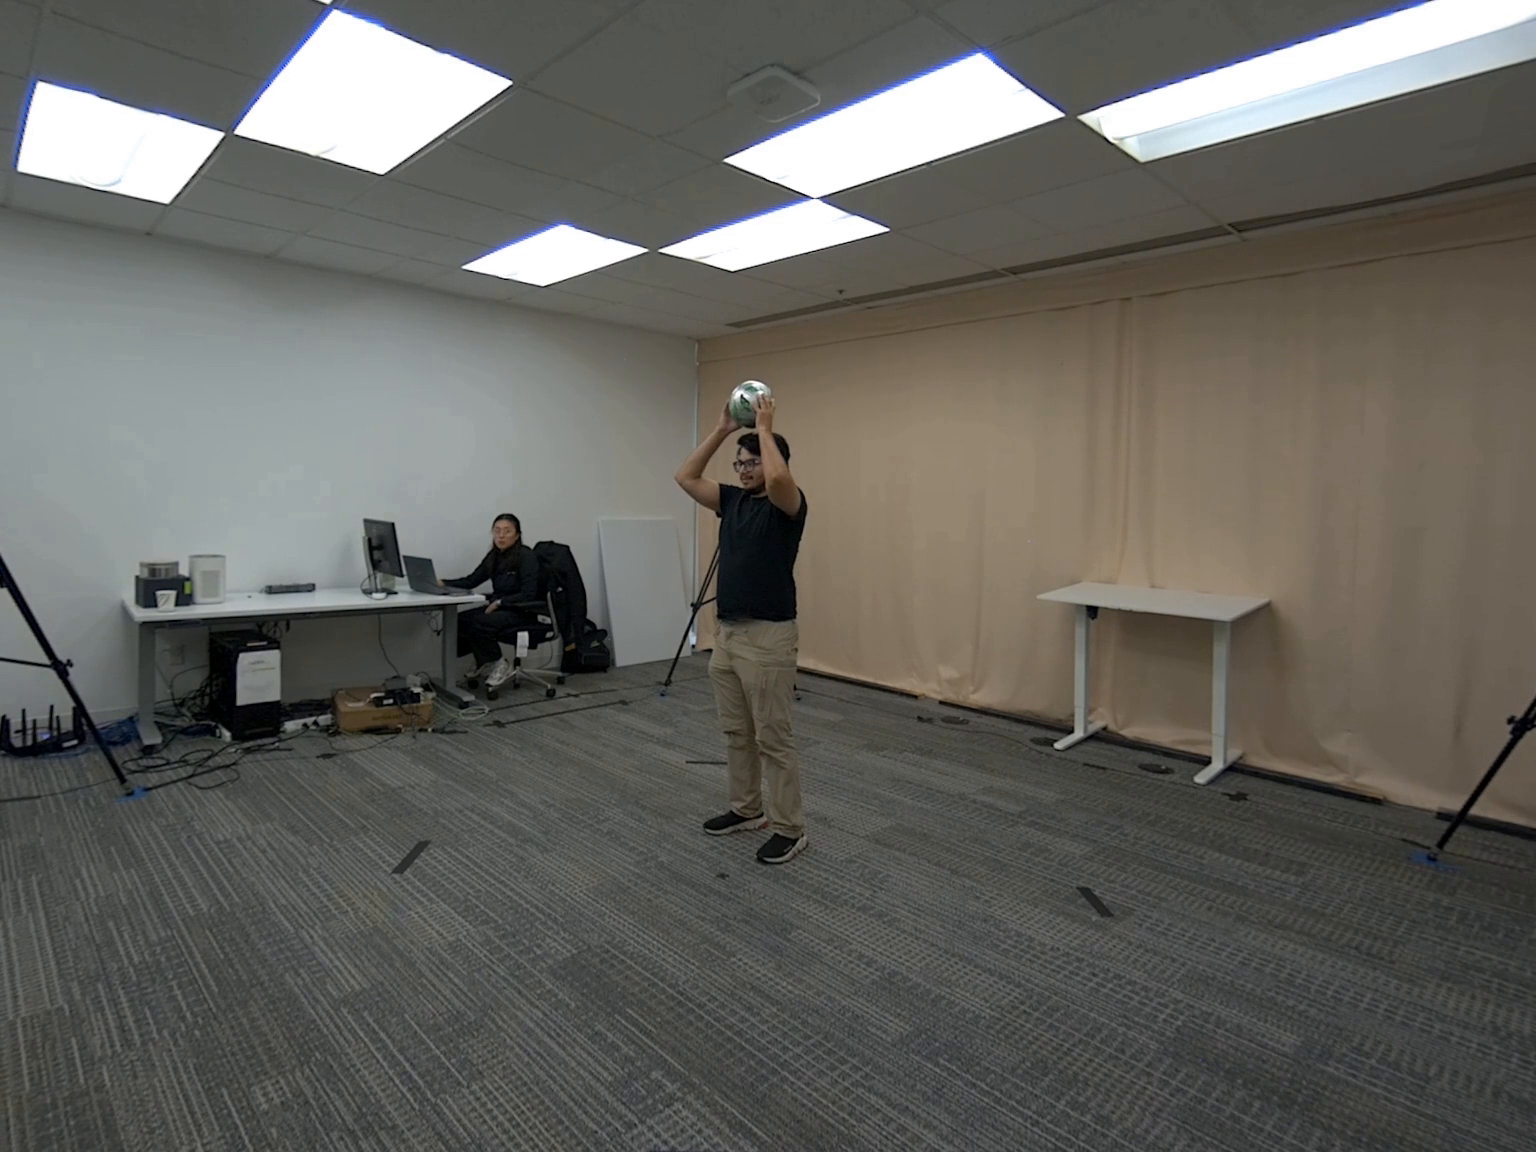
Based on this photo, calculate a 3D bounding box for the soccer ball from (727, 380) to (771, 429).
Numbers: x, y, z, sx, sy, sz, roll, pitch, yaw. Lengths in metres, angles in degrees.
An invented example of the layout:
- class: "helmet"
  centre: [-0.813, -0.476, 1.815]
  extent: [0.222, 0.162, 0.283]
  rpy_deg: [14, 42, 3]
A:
- class: "soccer ball"
  centre: [-0.075, -0.688, 3.373]
  extent: [0.187, 0.187, 0.188]
  rpy_deg: [1, 4, -1]
